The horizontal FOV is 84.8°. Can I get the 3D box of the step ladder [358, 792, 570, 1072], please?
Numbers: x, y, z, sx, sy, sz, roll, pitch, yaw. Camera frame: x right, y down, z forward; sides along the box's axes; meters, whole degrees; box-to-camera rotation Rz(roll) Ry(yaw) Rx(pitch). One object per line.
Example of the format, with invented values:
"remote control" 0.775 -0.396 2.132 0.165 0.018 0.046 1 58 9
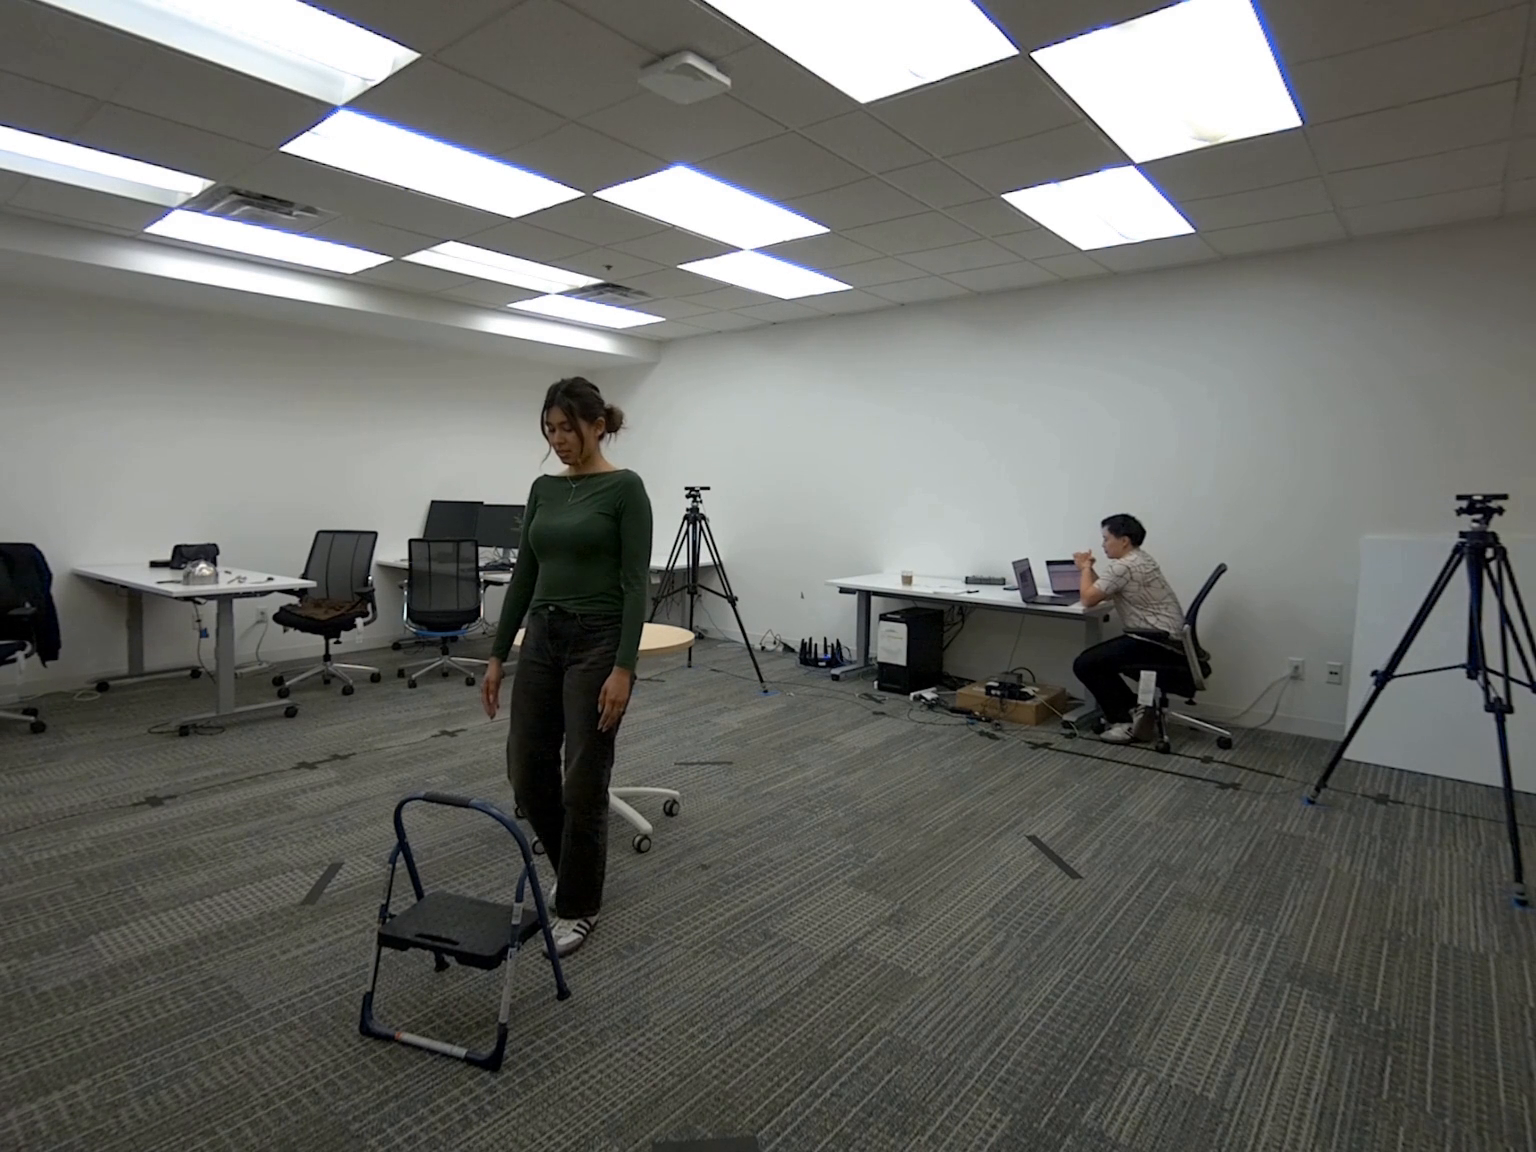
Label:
"step ladder" -0.797 0.845 2.220 0.439 0.604 0.344 2 4 17
